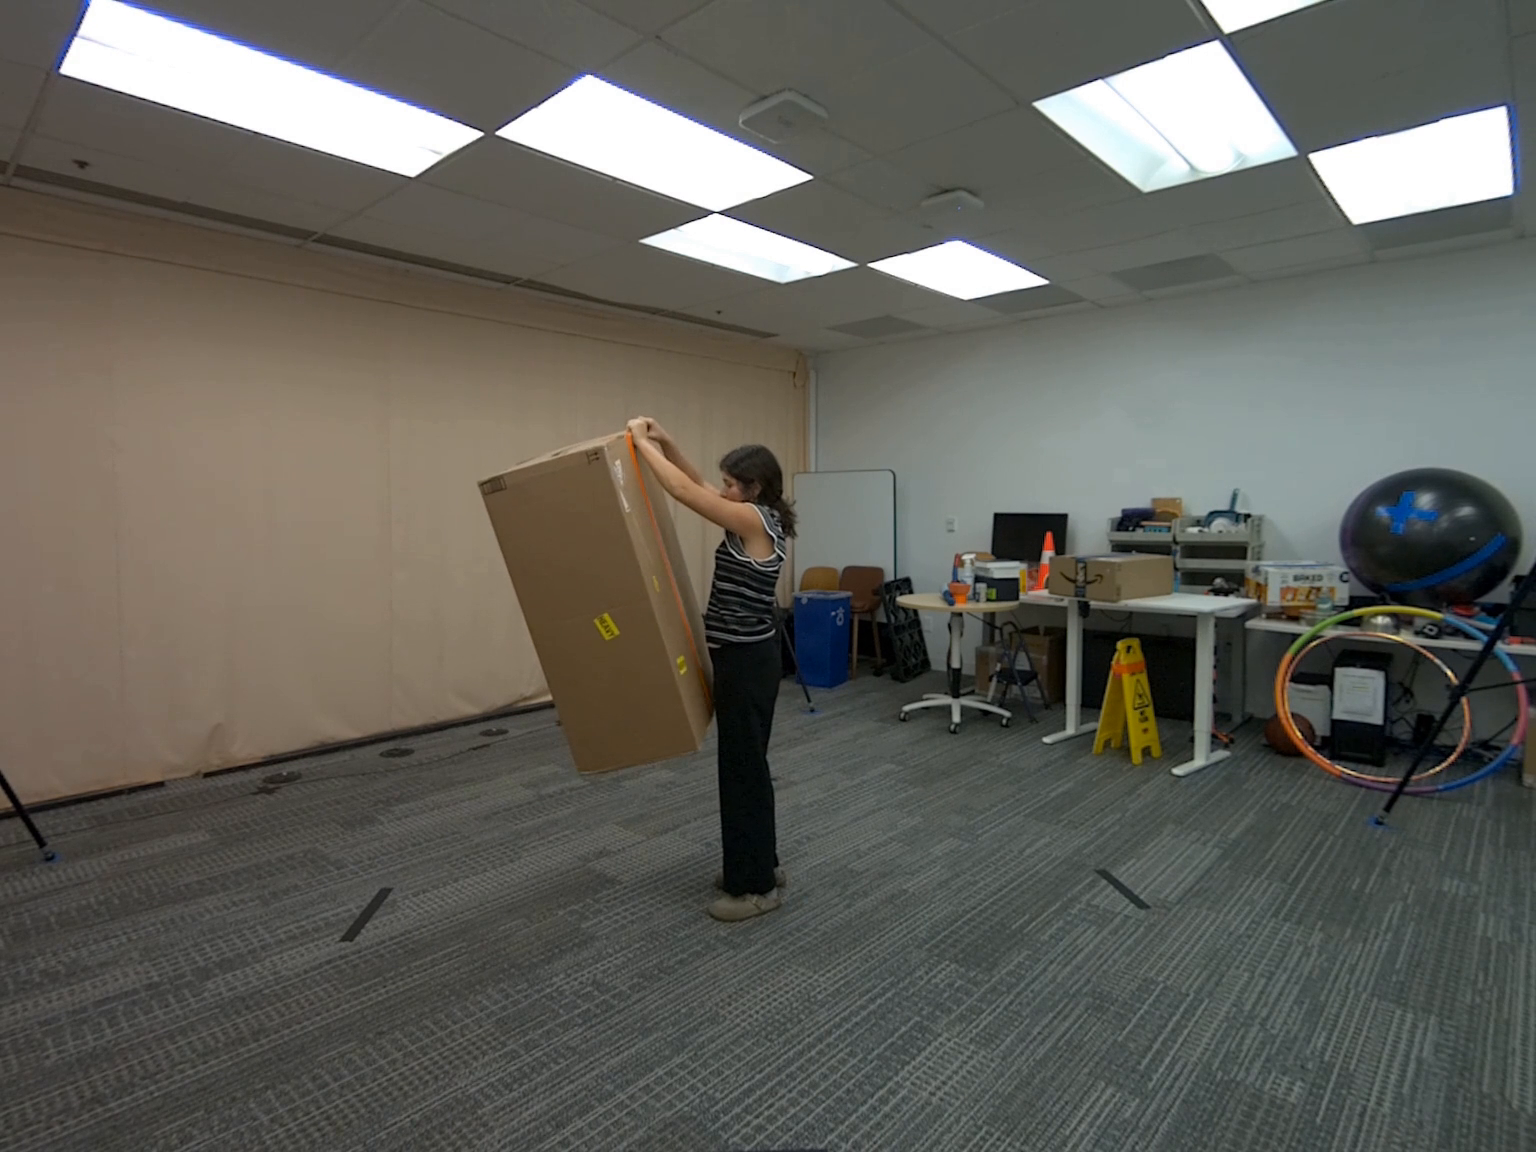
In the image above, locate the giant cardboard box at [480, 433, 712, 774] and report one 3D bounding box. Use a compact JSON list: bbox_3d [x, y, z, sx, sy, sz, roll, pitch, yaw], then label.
[{"bbox_3d":[-0.541,0.056,2.896,0.431,1.015,0.577,-13,12,11],"label":"giant cardboard box"}]
